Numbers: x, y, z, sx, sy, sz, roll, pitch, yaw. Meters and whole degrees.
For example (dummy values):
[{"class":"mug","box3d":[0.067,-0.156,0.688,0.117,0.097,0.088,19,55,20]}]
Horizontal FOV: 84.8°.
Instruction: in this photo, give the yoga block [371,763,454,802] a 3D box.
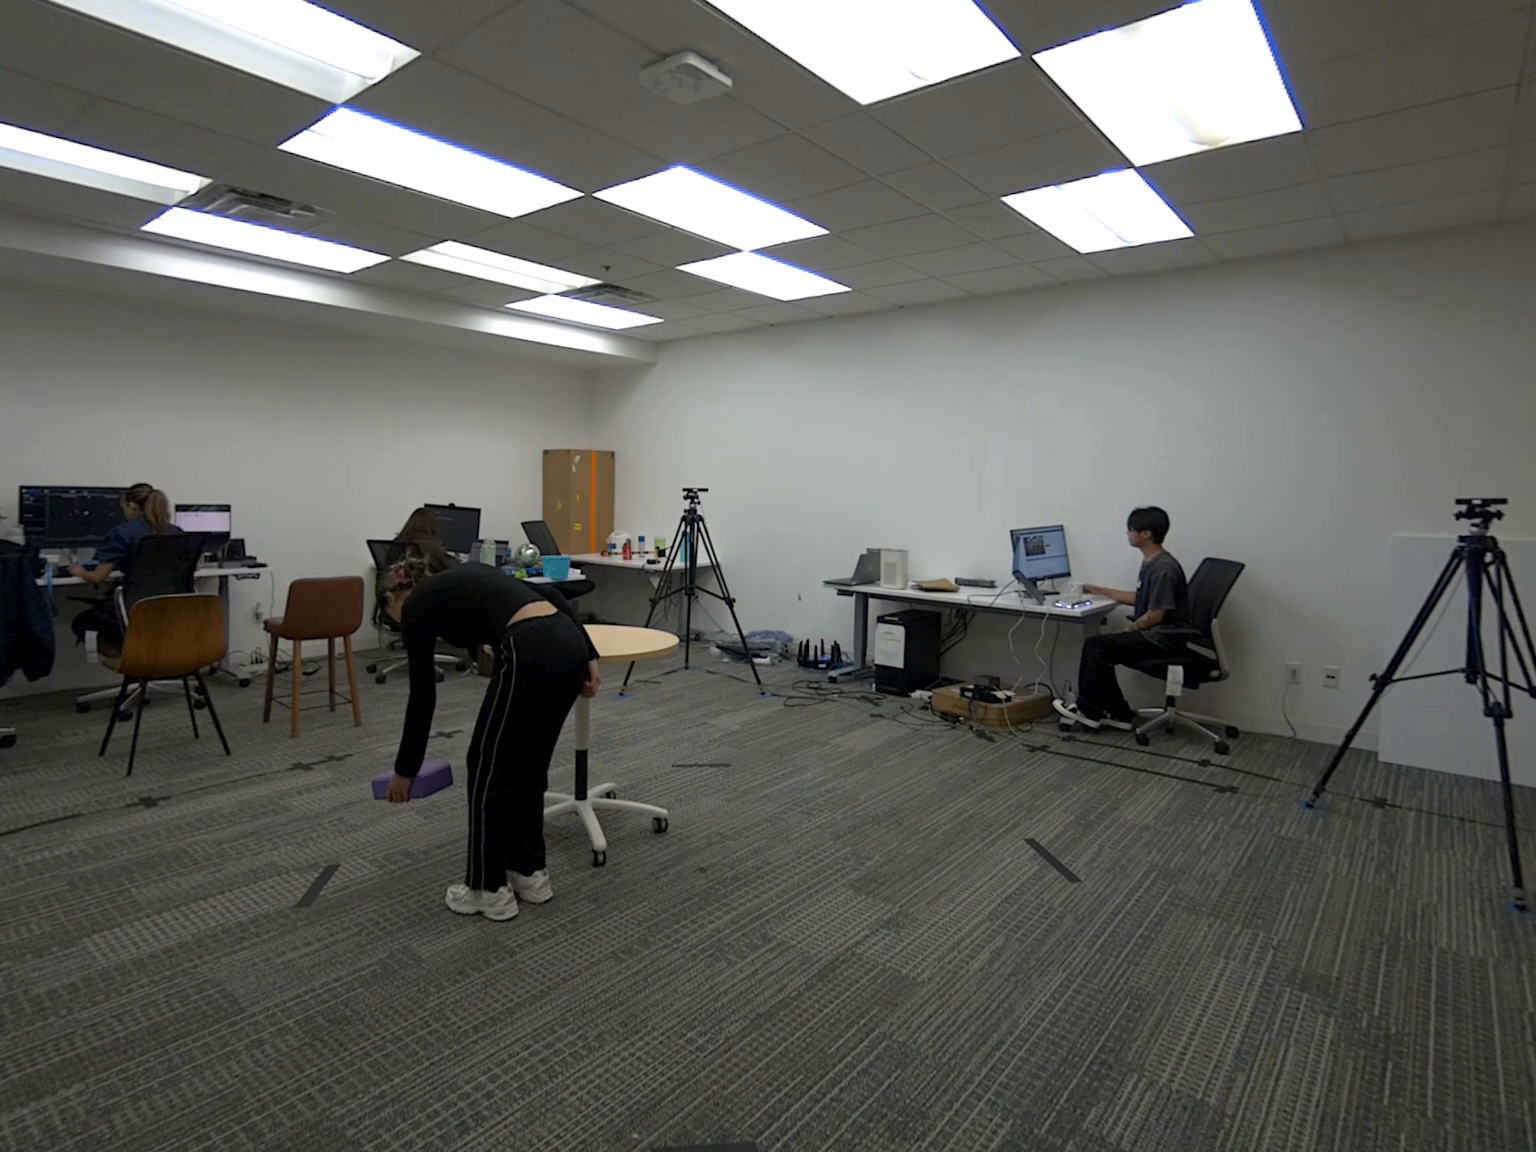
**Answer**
[{"class":"yoga block","box3d":[-1.213,0.692,2.845,0.234,0.076,0.146,-8,2,22]}]
